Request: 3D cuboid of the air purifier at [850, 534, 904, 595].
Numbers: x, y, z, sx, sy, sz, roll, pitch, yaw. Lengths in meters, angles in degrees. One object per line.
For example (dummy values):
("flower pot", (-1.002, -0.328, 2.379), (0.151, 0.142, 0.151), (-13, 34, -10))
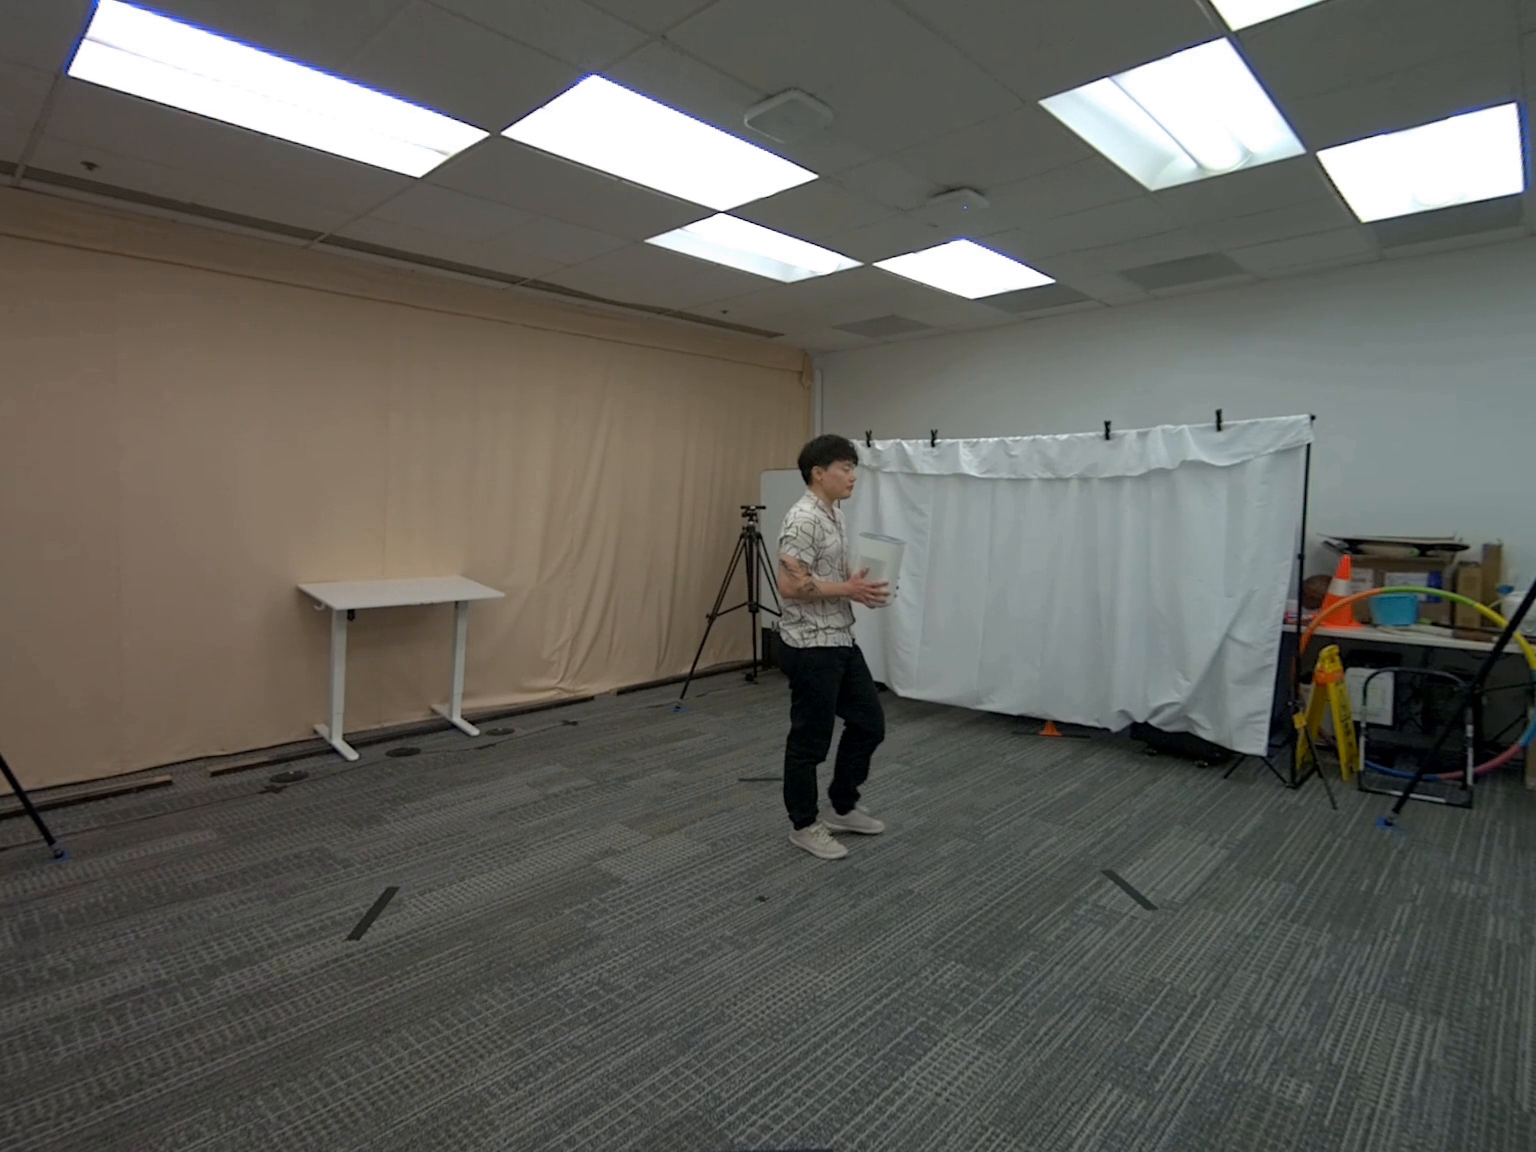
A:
("air purifier", (0.441, -0.017, 3.338), (0.173, 0.264, 0.170), (12, 12, 9))
